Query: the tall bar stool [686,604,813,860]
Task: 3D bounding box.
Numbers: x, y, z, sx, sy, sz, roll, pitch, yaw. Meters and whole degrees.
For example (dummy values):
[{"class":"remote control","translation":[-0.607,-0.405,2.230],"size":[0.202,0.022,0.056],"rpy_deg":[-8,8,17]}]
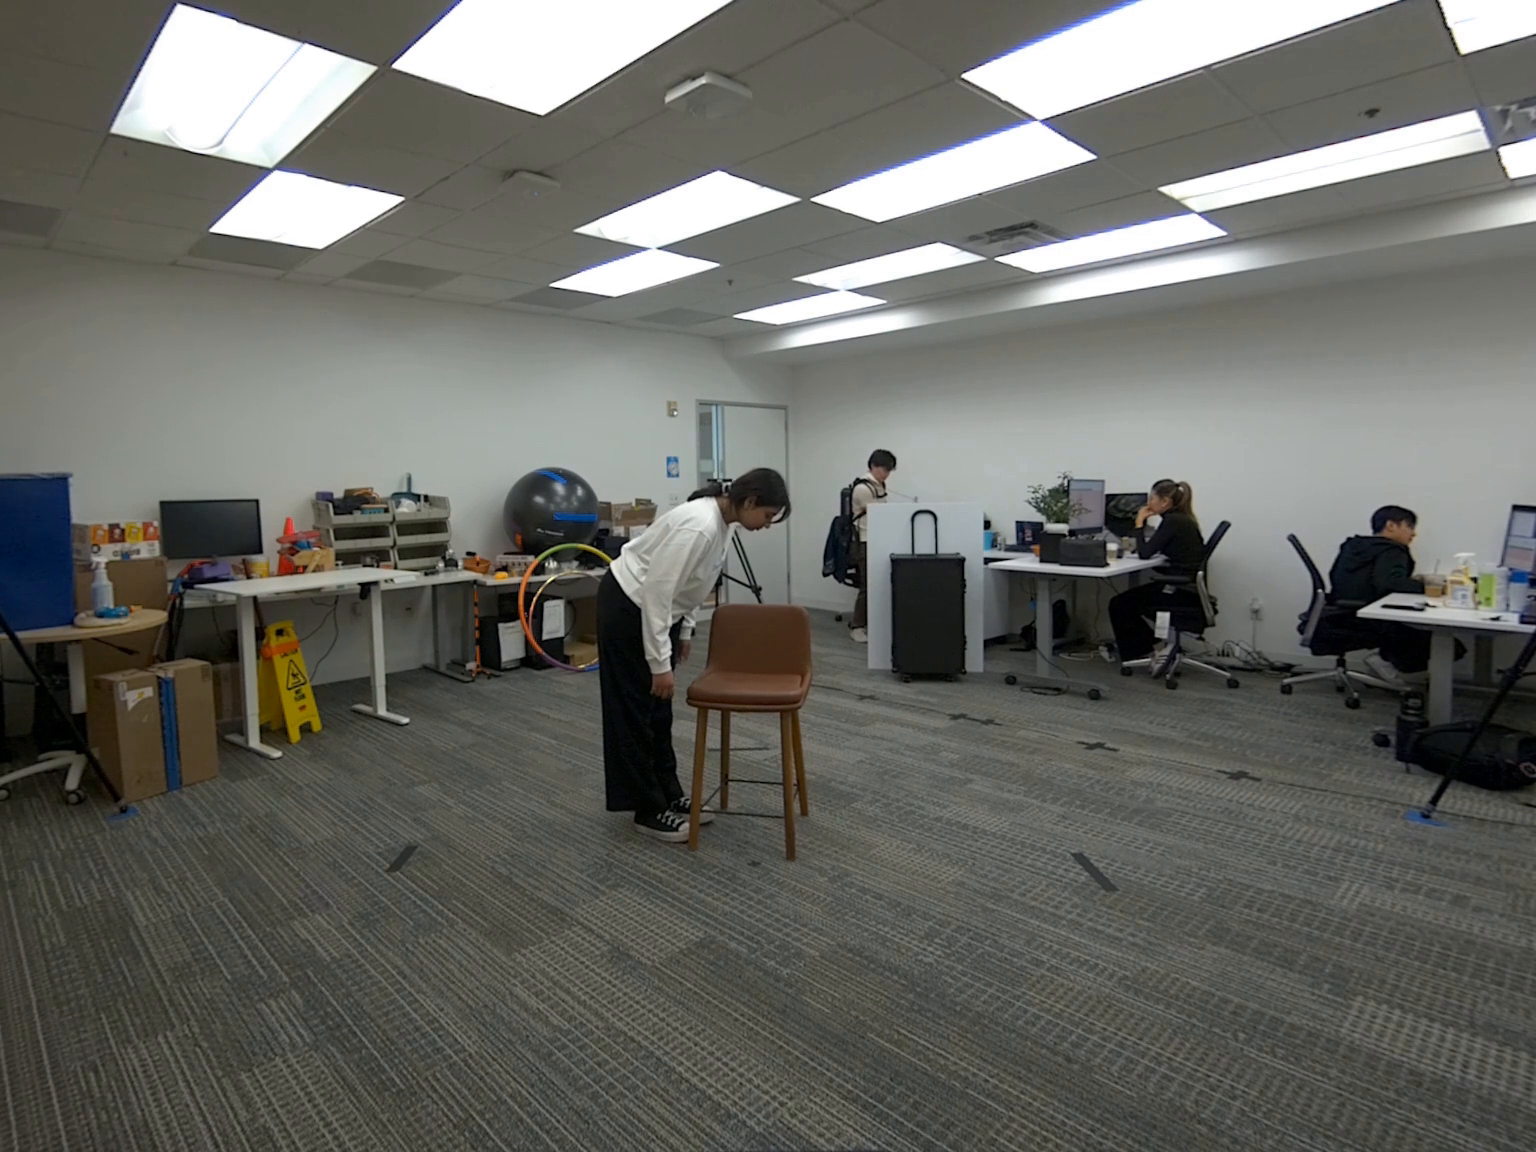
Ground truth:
[{"class":"tall bar stool","translation":[-0.065,0.578,3.371],"size":[0.463,0.888,0.462],"rpy_deg":[0,3,14]}]
